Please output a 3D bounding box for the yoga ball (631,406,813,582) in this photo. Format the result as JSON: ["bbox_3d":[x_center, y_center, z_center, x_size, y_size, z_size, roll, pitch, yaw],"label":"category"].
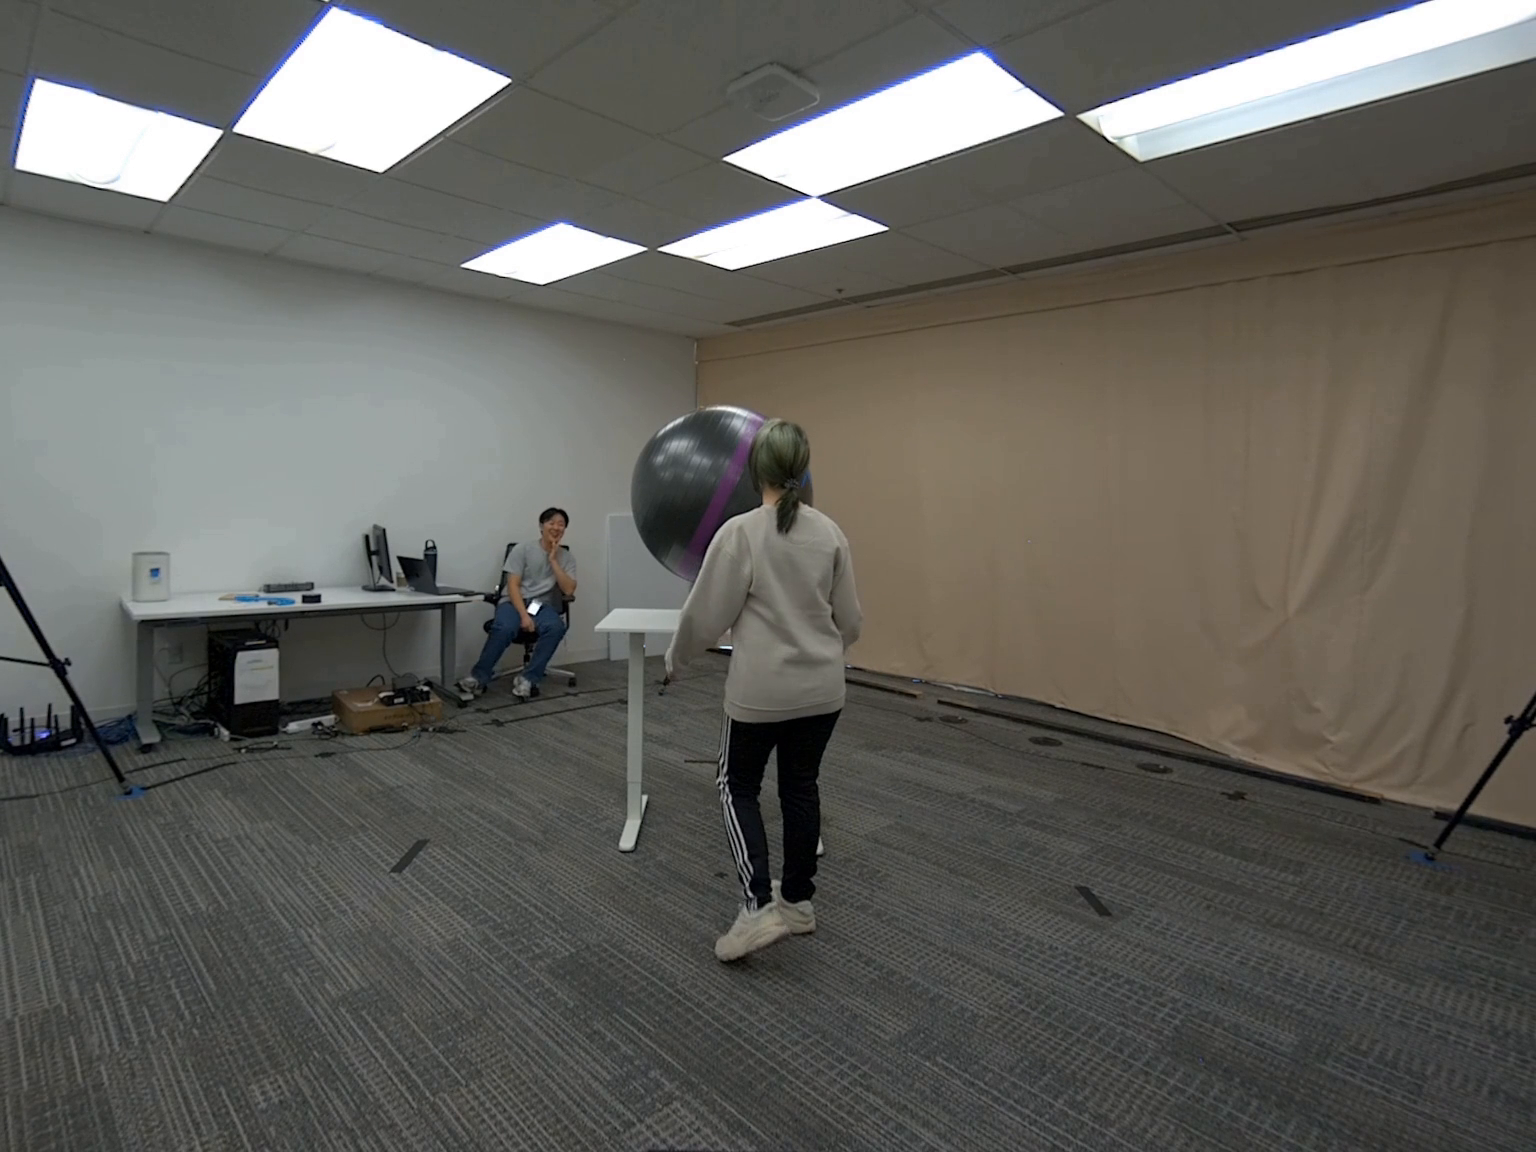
[{"bbox_3d":[-0.200,-0.326,3.515,0.757,0.756,0.761,1,4,-1],"label":"yoga ball"}]
